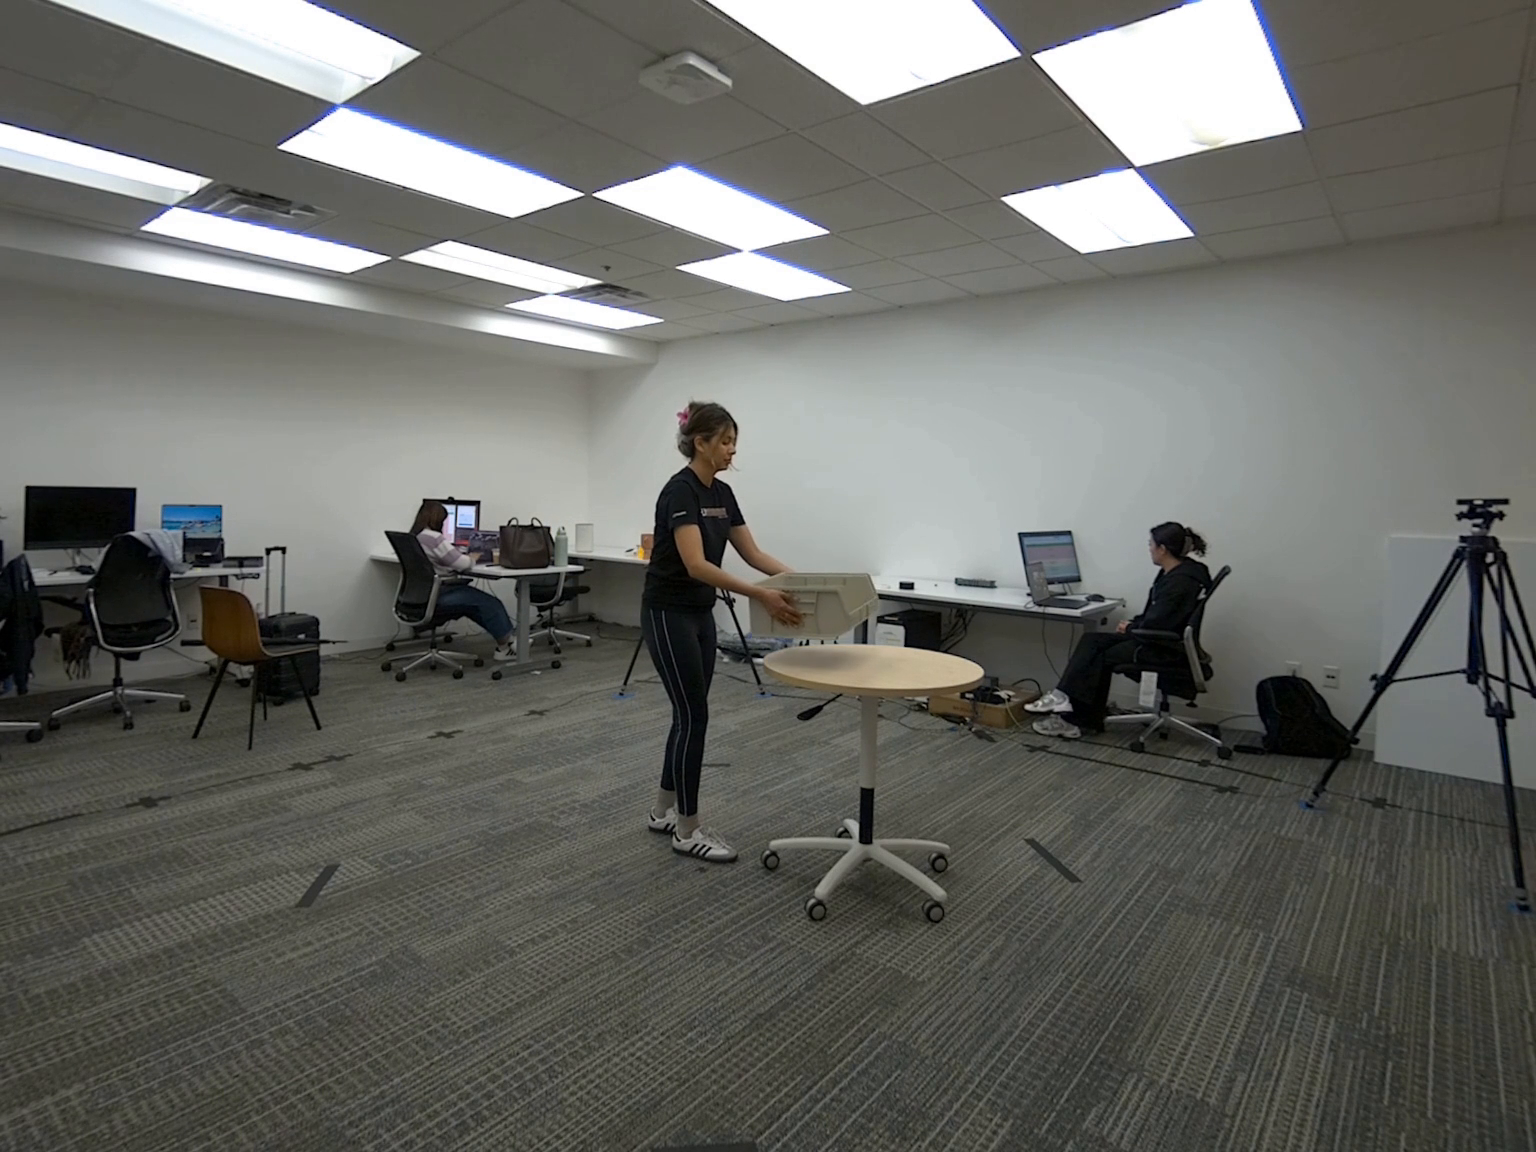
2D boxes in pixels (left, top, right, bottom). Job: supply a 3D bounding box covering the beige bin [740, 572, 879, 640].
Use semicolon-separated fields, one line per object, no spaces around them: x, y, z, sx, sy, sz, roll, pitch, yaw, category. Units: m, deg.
0.166;0.103;3.093;0.386;0.188;0.415;-1;7;23;beige bin
